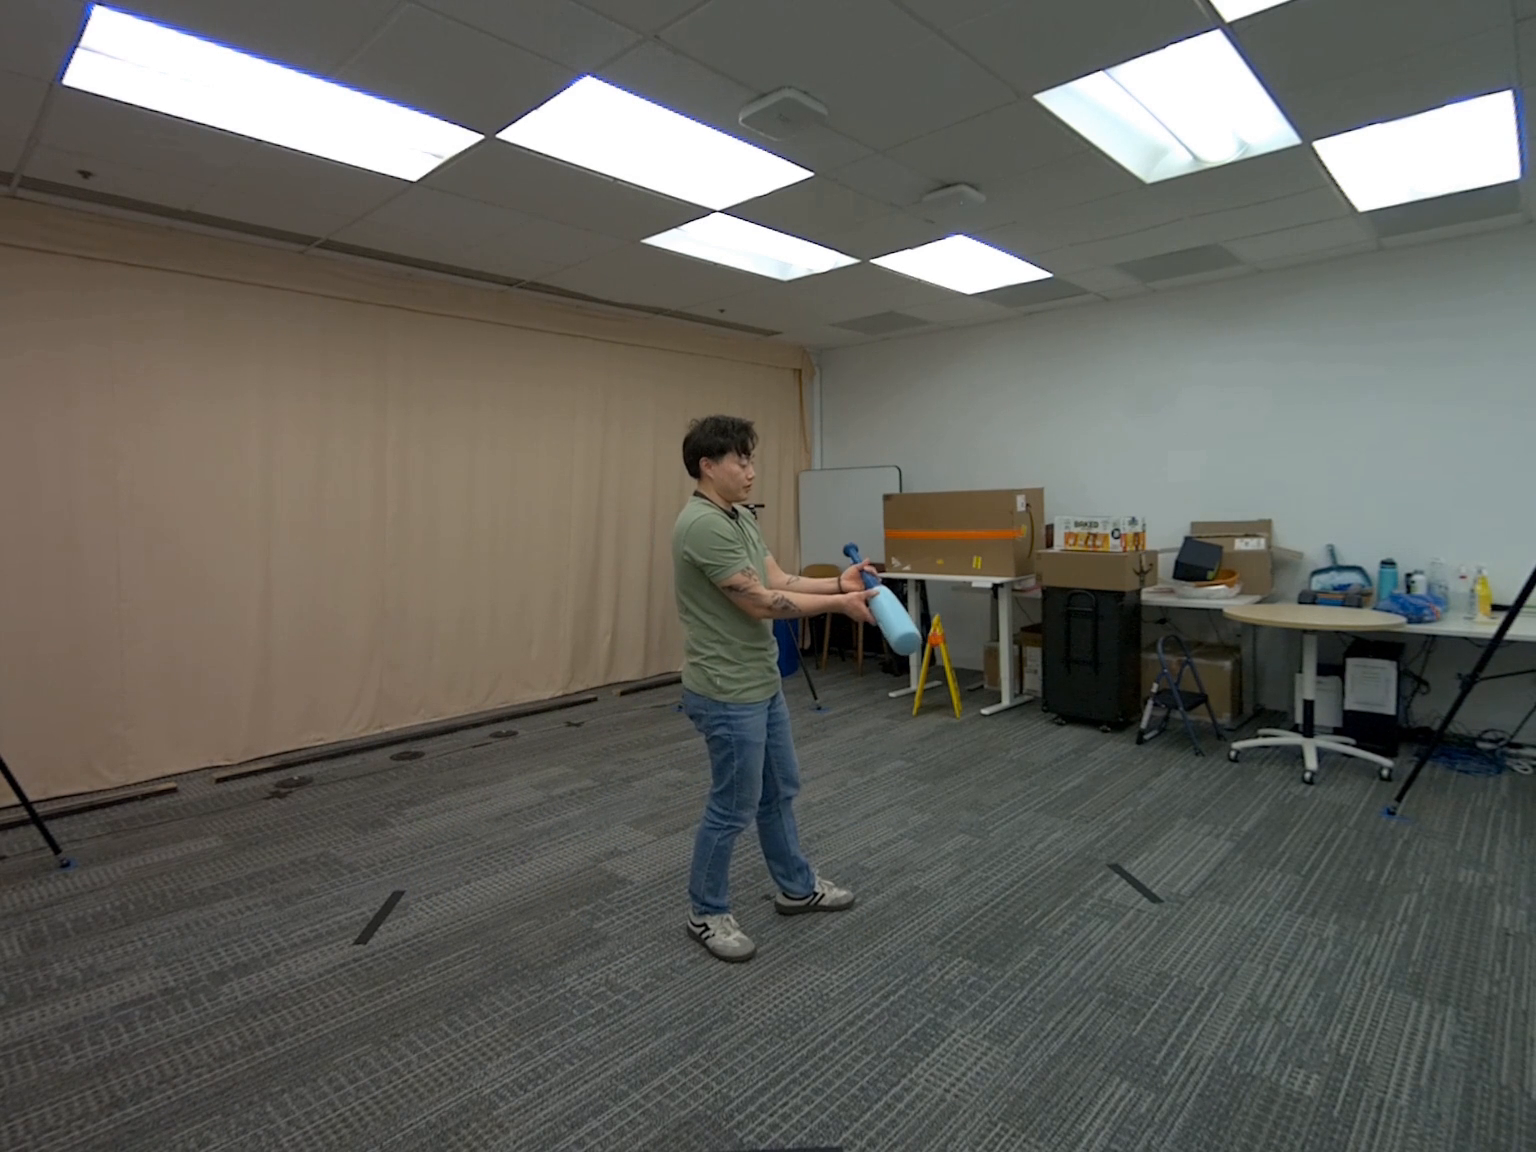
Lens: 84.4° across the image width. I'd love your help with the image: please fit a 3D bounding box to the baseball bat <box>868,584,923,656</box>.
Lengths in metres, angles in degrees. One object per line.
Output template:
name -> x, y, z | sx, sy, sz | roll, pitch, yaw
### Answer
baseball bat -> 0.338, 0.053, 2.504 | 0.088, 0.088, 0.558 | -2, 30, -14
